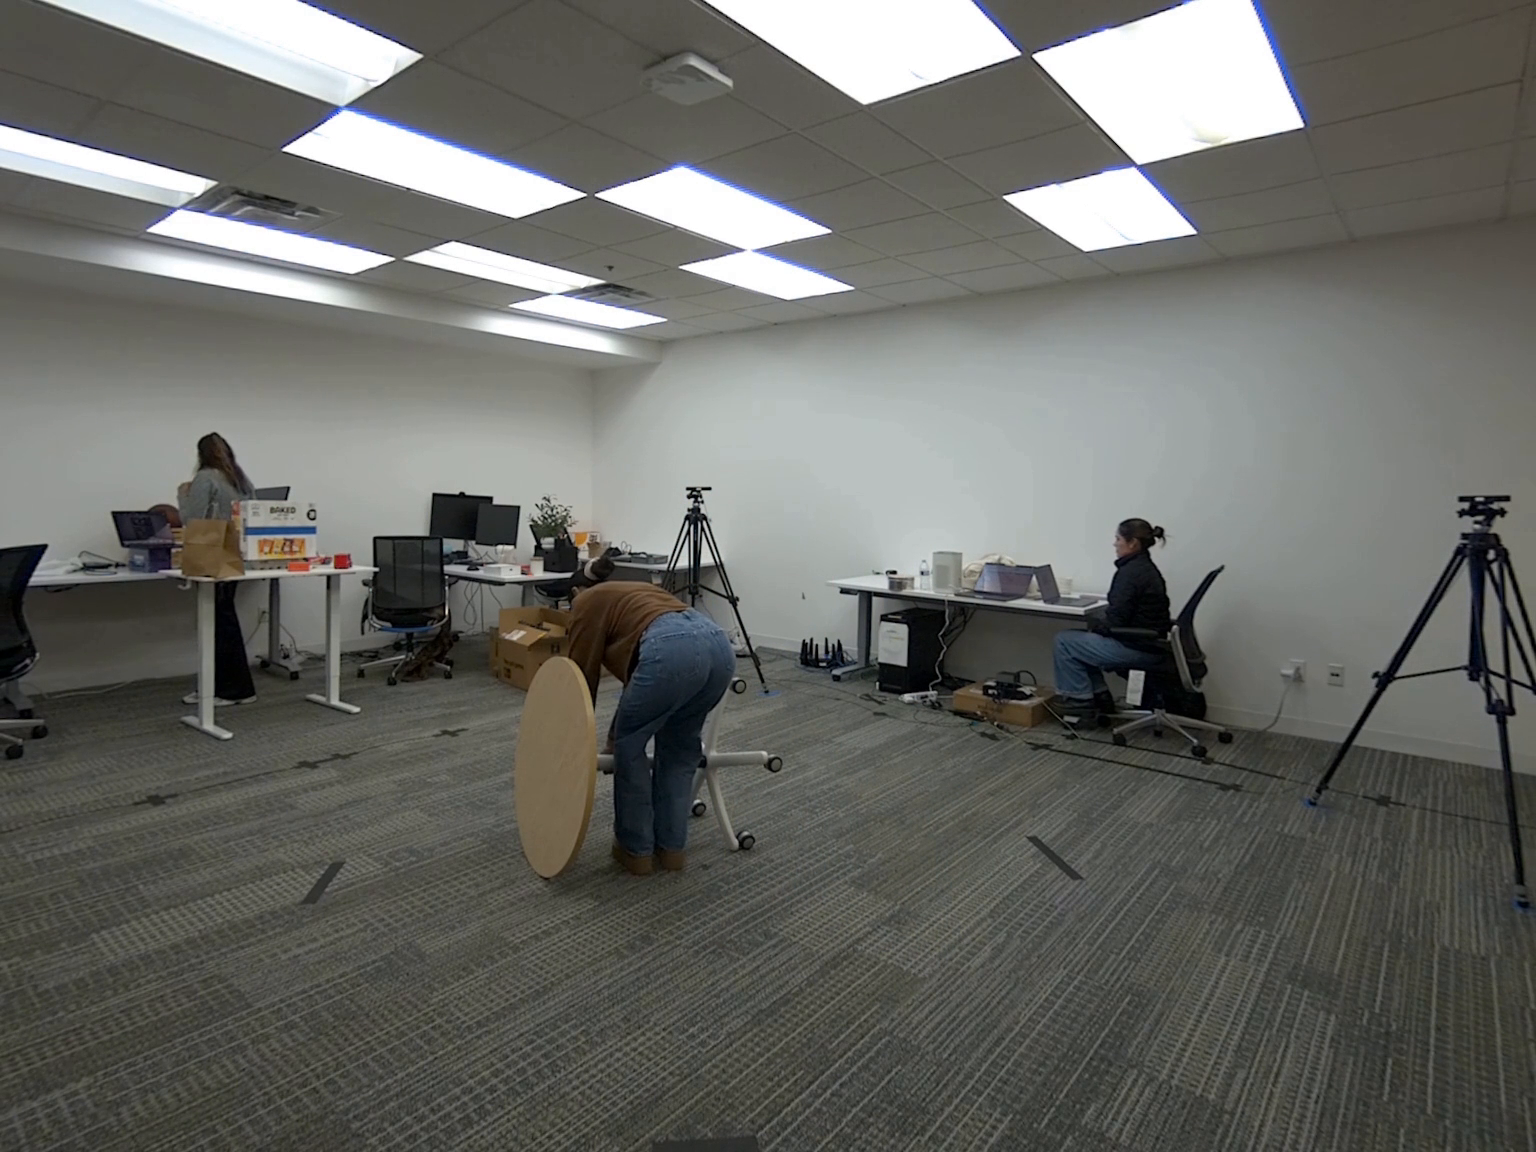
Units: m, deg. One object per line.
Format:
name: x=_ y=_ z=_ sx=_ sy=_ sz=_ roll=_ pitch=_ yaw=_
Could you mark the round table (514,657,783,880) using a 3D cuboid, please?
round table: x=-0.482 y=0.714 z=3.281 sx=0.769 sy=0.764 sz=0.788 roll=7 pitch=0 yaw=-32
